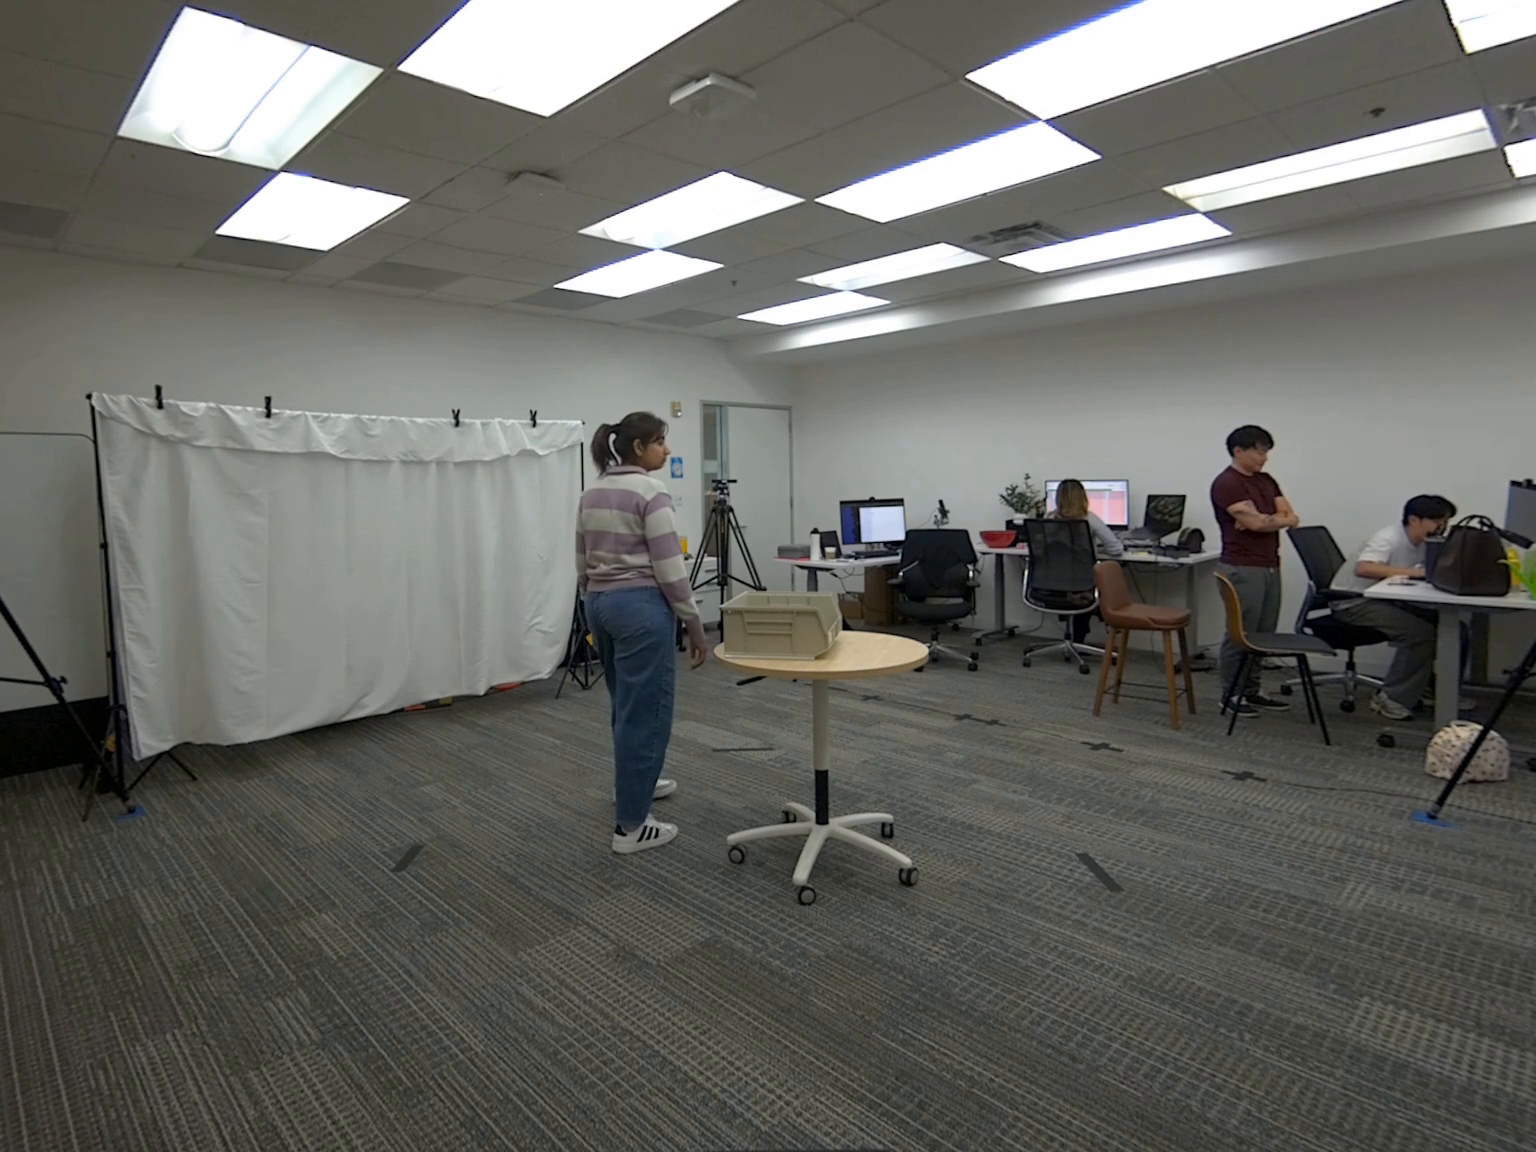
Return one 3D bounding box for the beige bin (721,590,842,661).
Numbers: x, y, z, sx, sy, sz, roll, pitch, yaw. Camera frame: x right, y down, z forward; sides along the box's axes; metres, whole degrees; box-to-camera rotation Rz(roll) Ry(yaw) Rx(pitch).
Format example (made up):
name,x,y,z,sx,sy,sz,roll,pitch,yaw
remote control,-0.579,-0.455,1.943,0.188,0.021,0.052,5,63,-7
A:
name,x,y,z,sx,sy,sz,roll,pitch,yaw
beige bin,0.070,0.174,3.099,0.382,0.188,0.419,-2,5,12
